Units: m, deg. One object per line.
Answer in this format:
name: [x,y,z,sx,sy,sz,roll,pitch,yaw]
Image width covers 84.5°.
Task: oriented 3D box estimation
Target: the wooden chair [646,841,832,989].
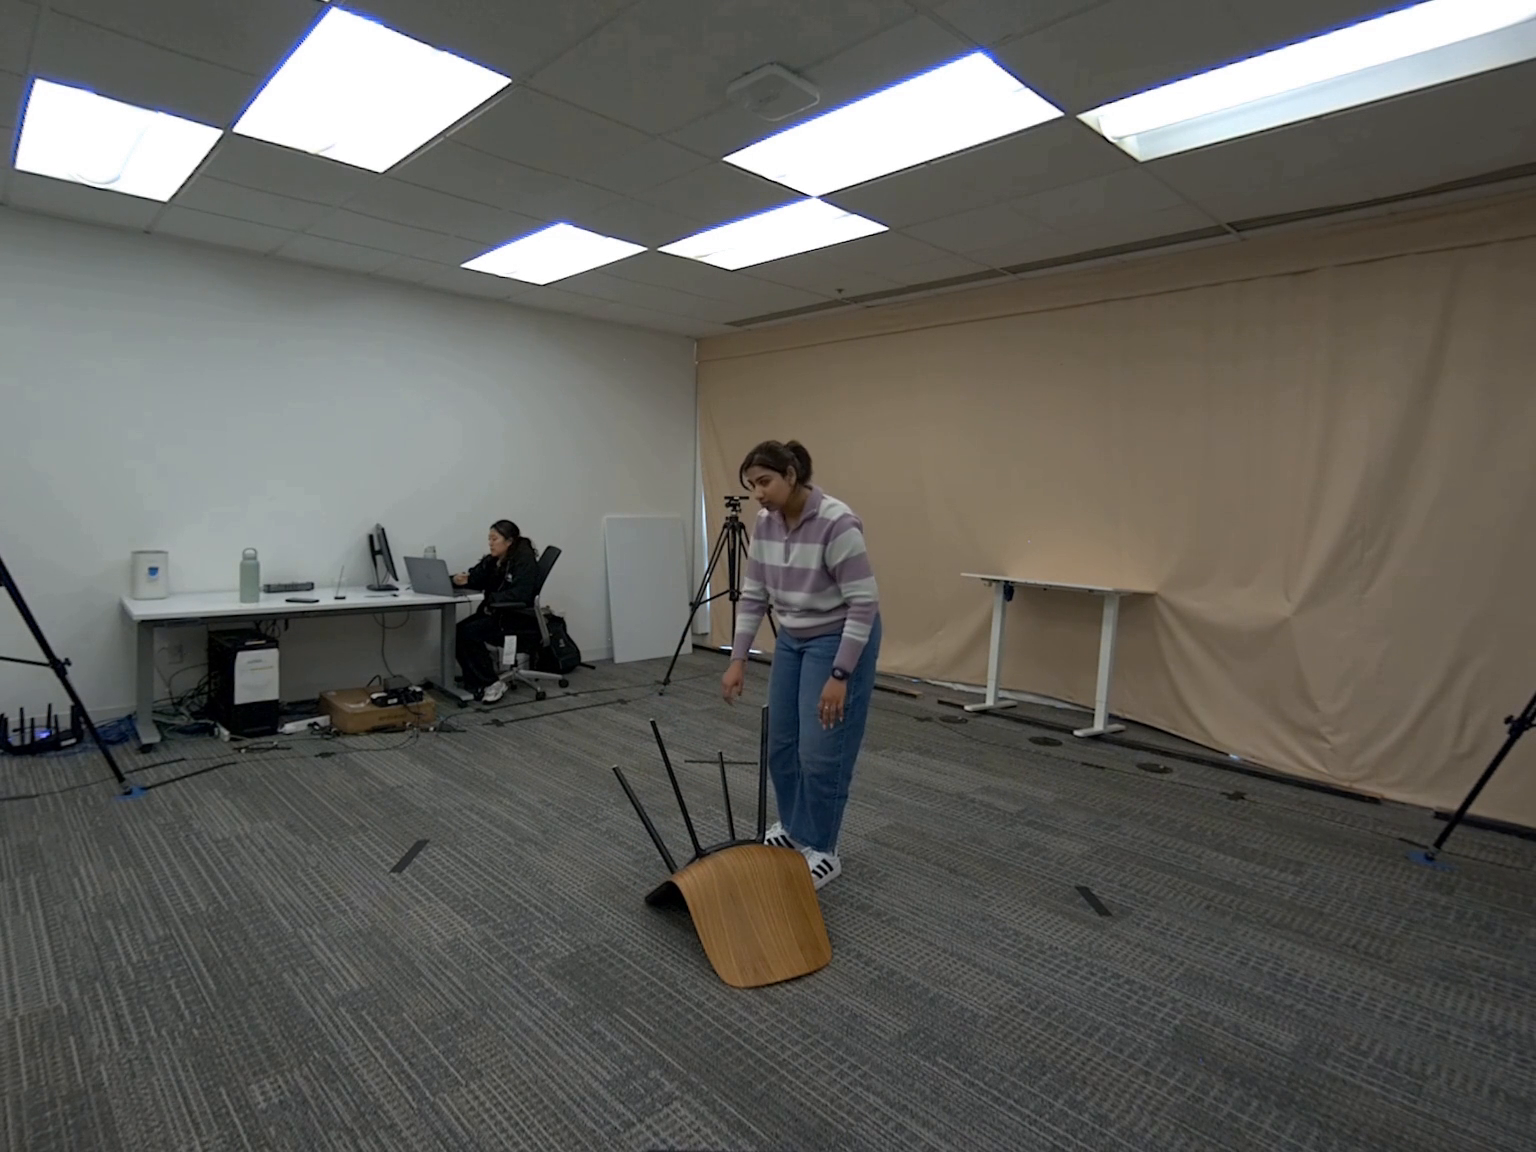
wooden chair: [-0.173,0.958,2.842,0.468,0.900,0.520,-1,-36,-30]
